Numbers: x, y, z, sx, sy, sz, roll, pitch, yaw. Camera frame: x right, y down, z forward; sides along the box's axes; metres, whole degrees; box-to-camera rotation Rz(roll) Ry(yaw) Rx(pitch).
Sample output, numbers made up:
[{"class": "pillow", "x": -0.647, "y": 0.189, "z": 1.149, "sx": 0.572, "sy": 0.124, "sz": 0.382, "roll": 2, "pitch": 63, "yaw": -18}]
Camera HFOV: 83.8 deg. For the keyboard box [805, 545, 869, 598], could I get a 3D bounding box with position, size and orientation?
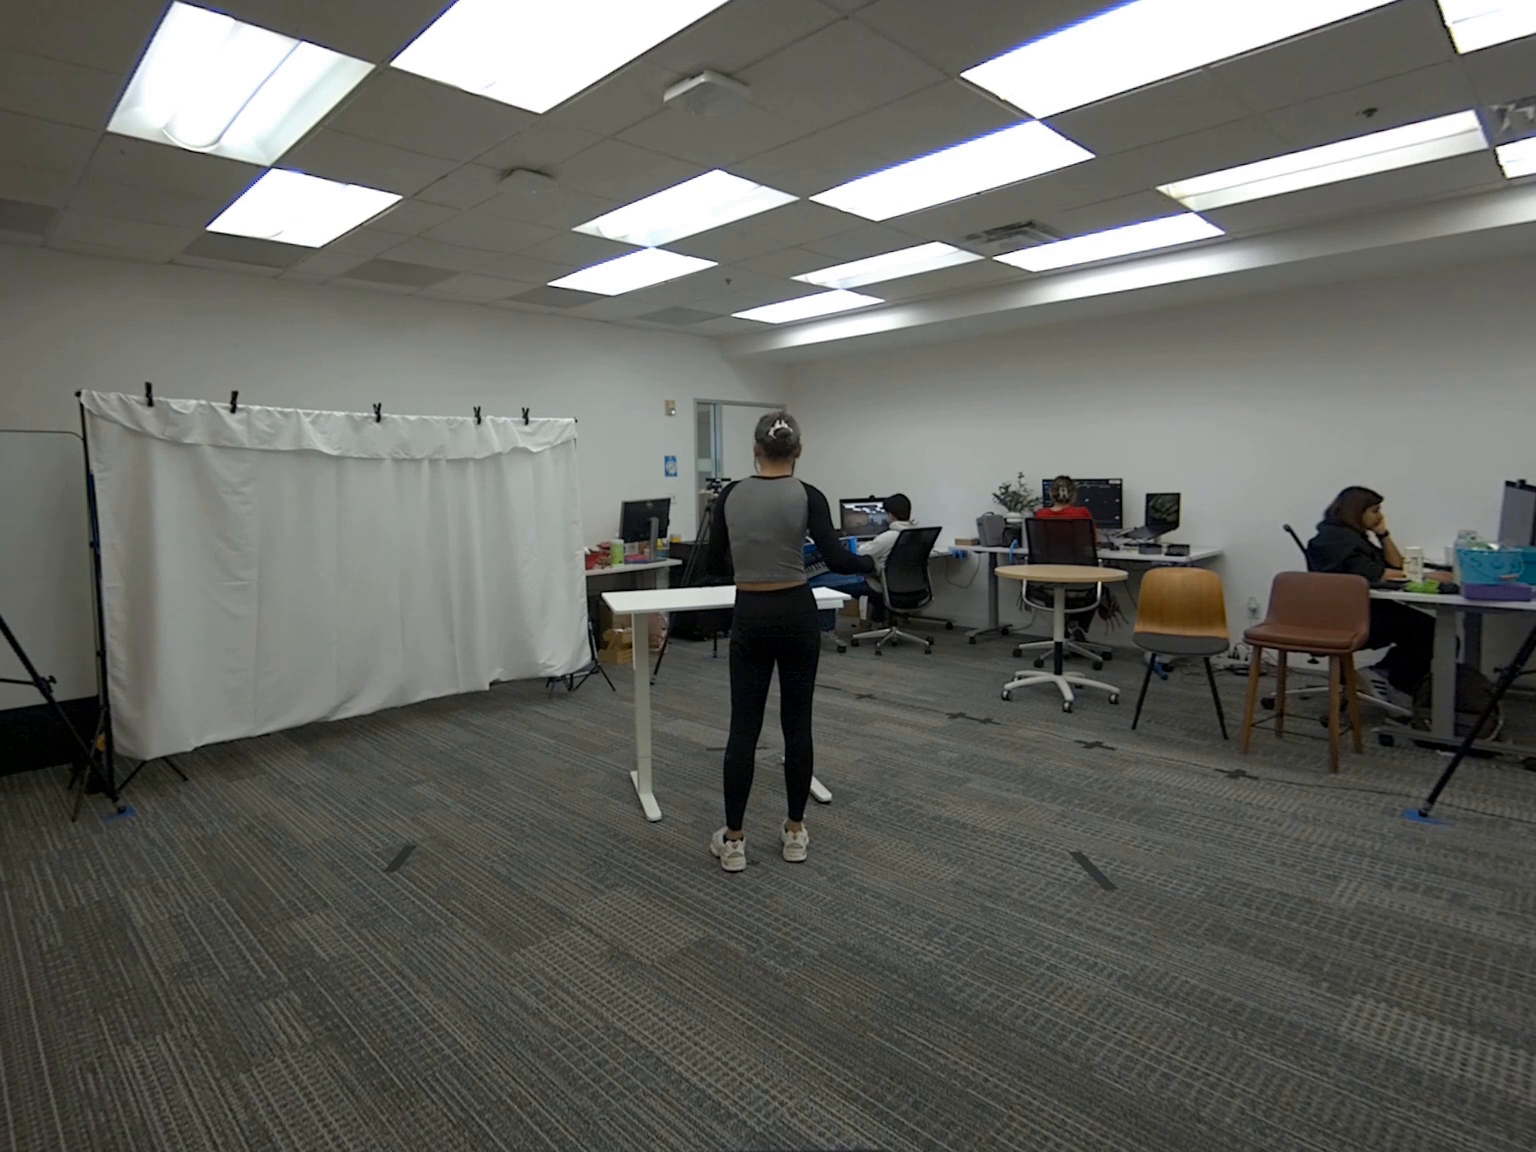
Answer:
[{"class": "keyboard box", "x": 0.153, "y": -0.035, "z": 3.318, "sx": 0.446, "sy": 0.176, "sz": 0.058, "roll": -9, "pitch": 3, "yaw": 34}]
